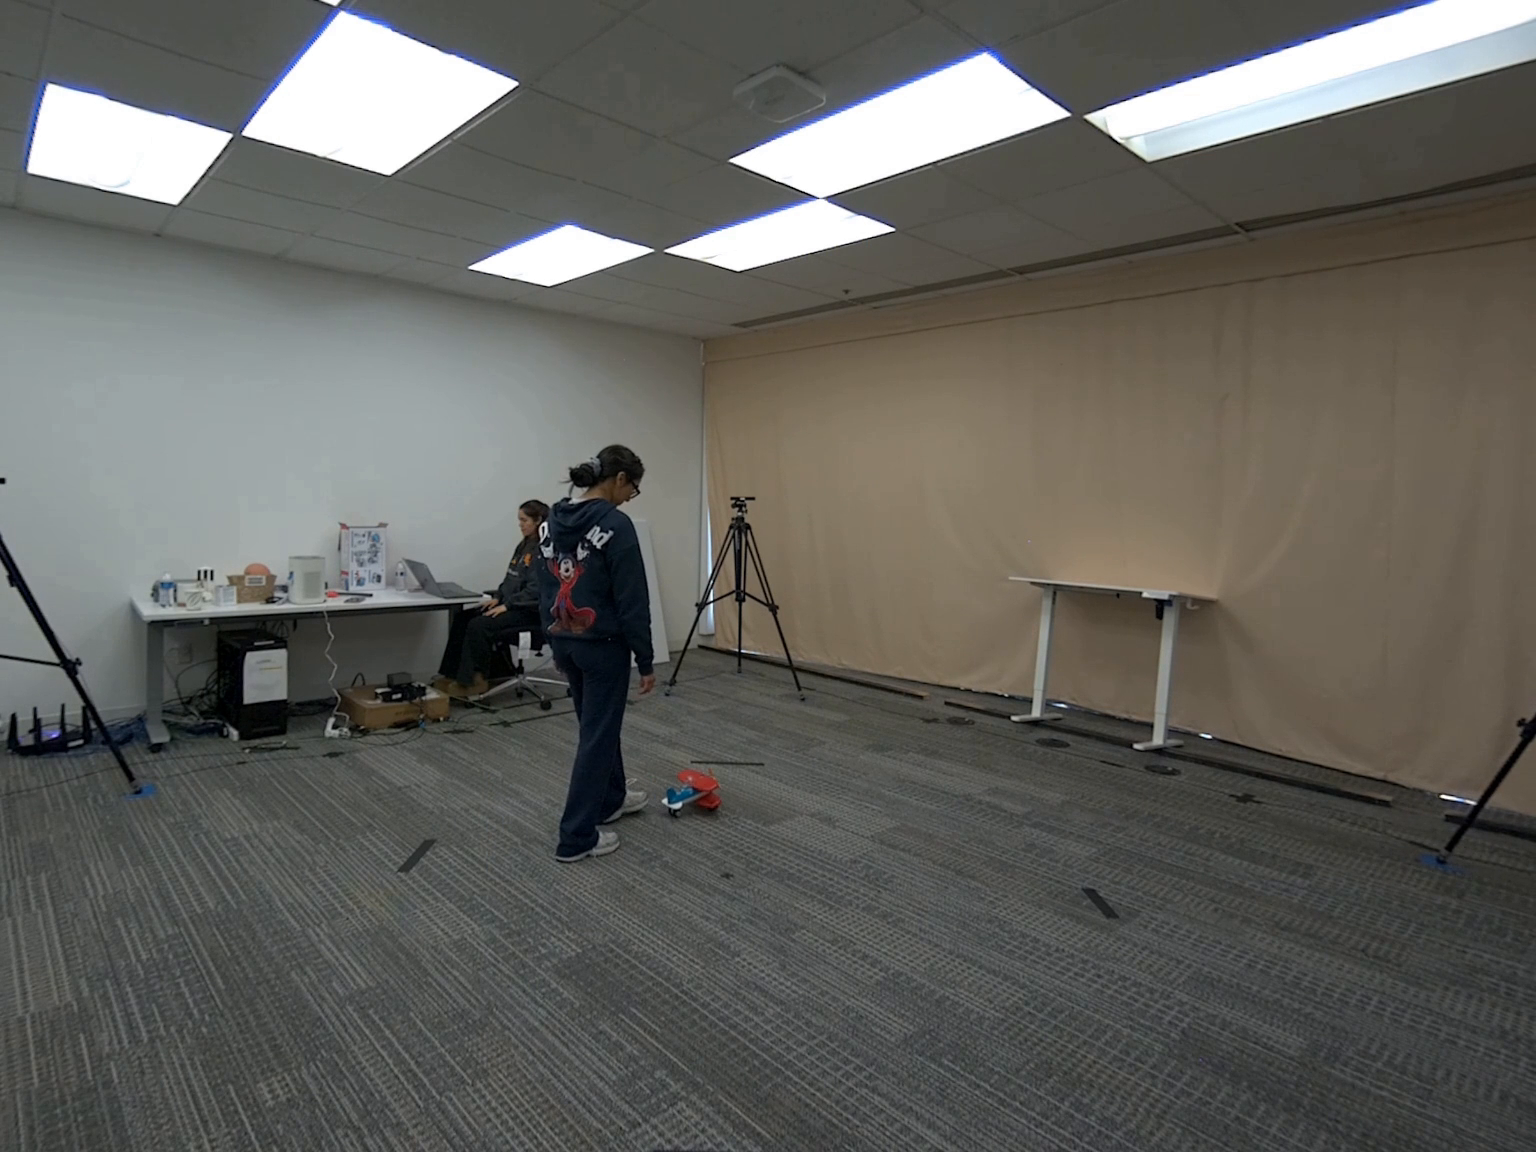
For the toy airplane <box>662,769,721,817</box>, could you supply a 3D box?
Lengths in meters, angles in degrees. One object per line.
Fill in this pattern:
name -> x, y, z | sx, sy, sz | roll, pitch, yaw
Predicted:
toy airplane -> -0.340, 0.972, 3.718 | 0.255, 0.156, 0.255 | 4, 3, 22
